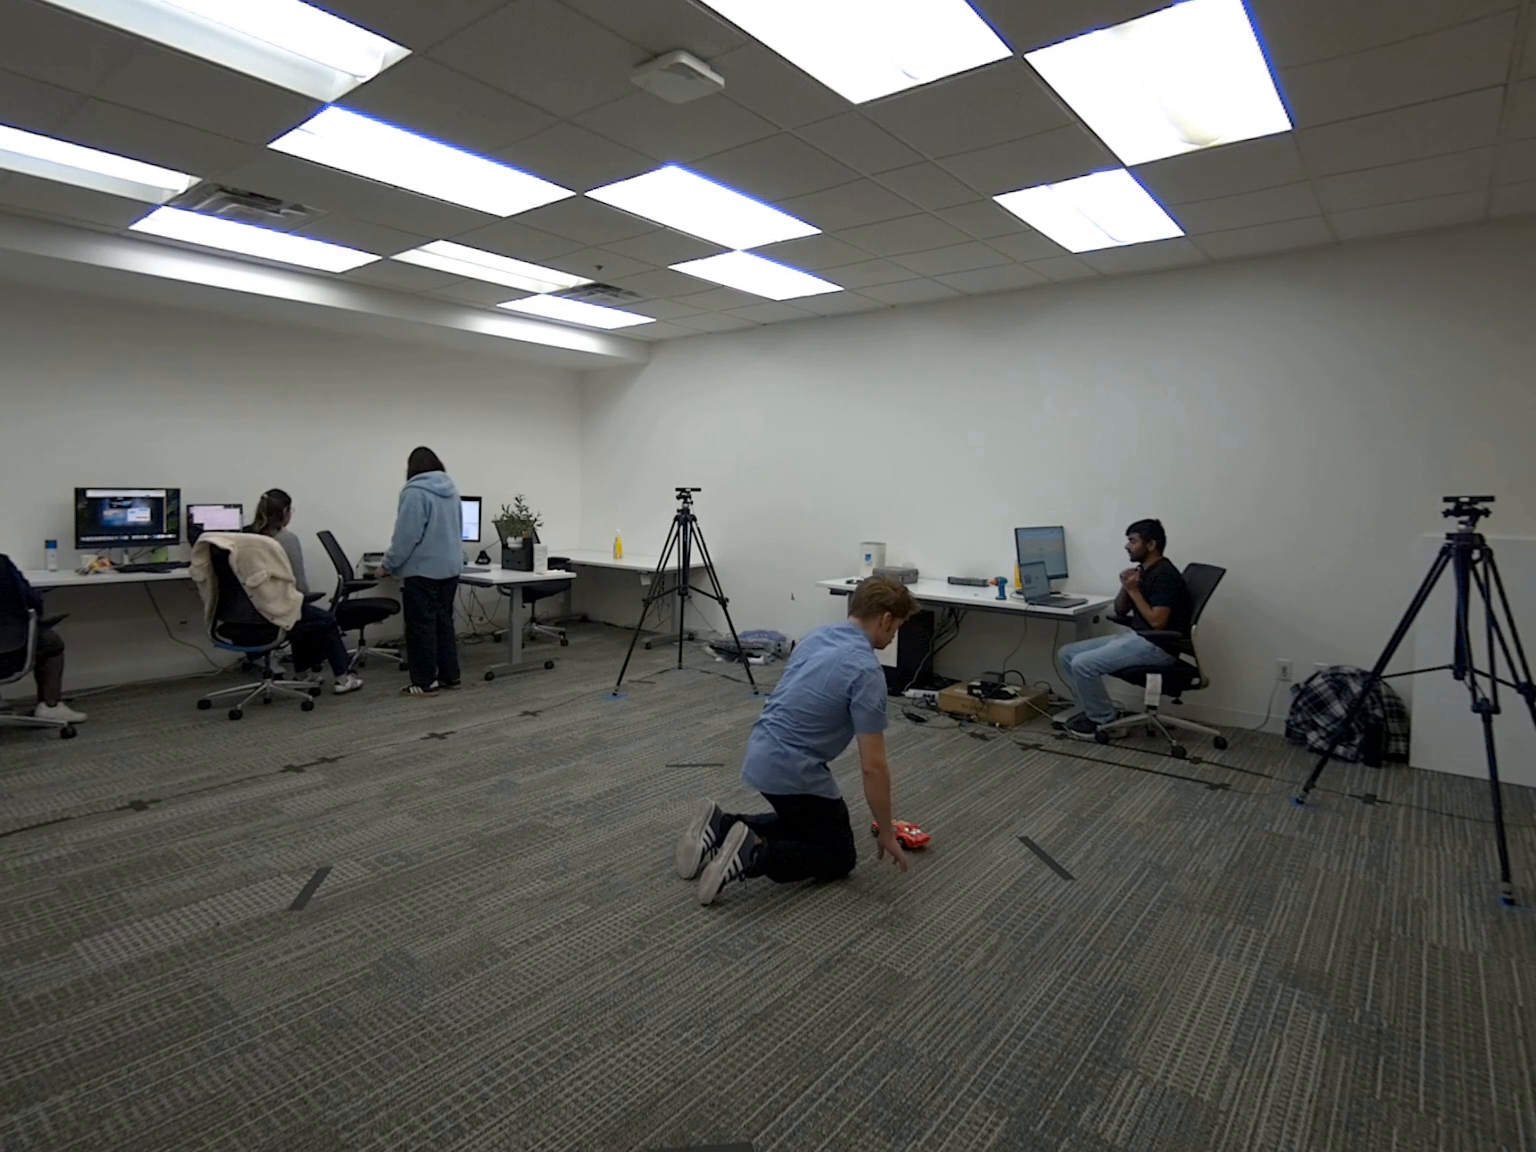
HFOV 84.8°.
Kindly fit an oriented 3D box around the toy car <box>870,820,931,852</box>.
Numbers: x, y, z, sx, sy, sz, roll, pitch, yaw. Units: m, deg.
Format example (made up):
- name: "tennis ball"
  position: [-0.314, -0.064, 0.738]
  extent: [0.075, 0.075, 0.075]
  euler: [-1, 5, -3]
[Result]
- name: "toy car"
  position: [0.526, 1.027, 3.393]
  extent: [0.126, 0.084, 0.261]
  euler: [0, -5, -36]
